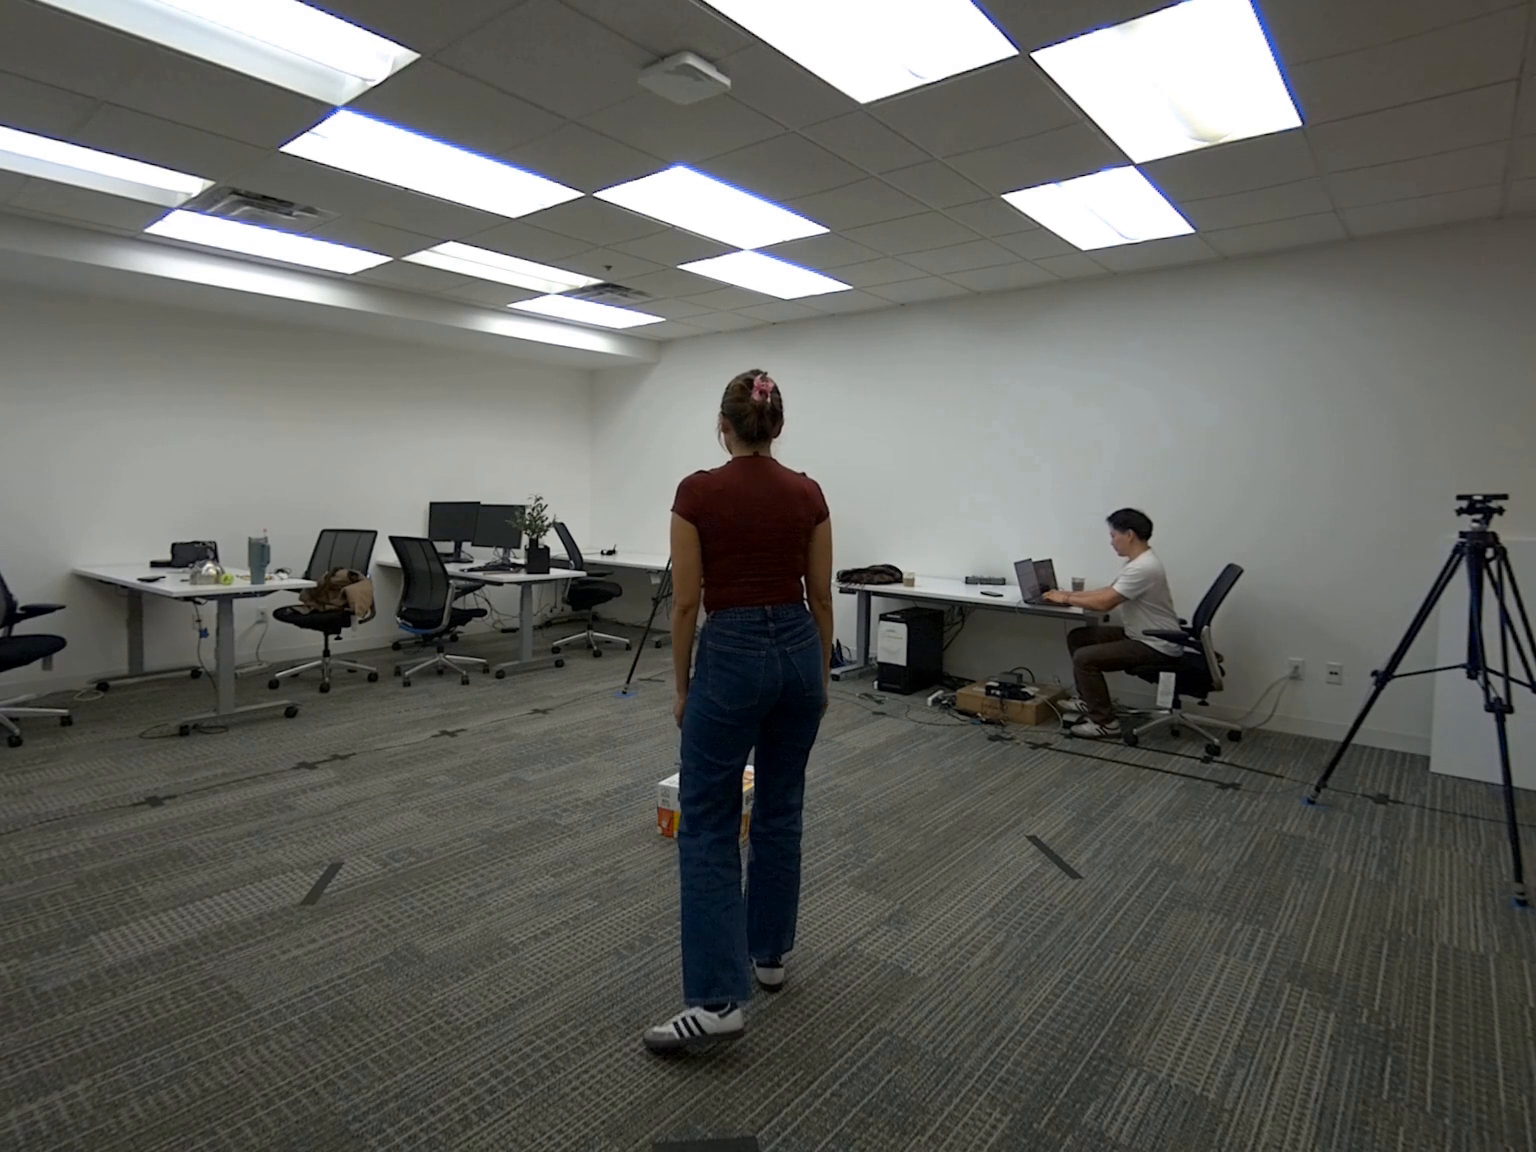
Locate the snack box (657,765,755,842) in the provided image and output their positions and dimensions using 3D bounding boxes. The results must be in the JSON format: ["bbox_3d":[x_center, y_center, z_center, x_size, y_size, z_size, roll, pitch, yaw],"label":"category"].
[{"bbox_3d":[-0.214,0.920,3.496,0.350,0.205,0.395,4,6,28],"label":"snack box"}]
